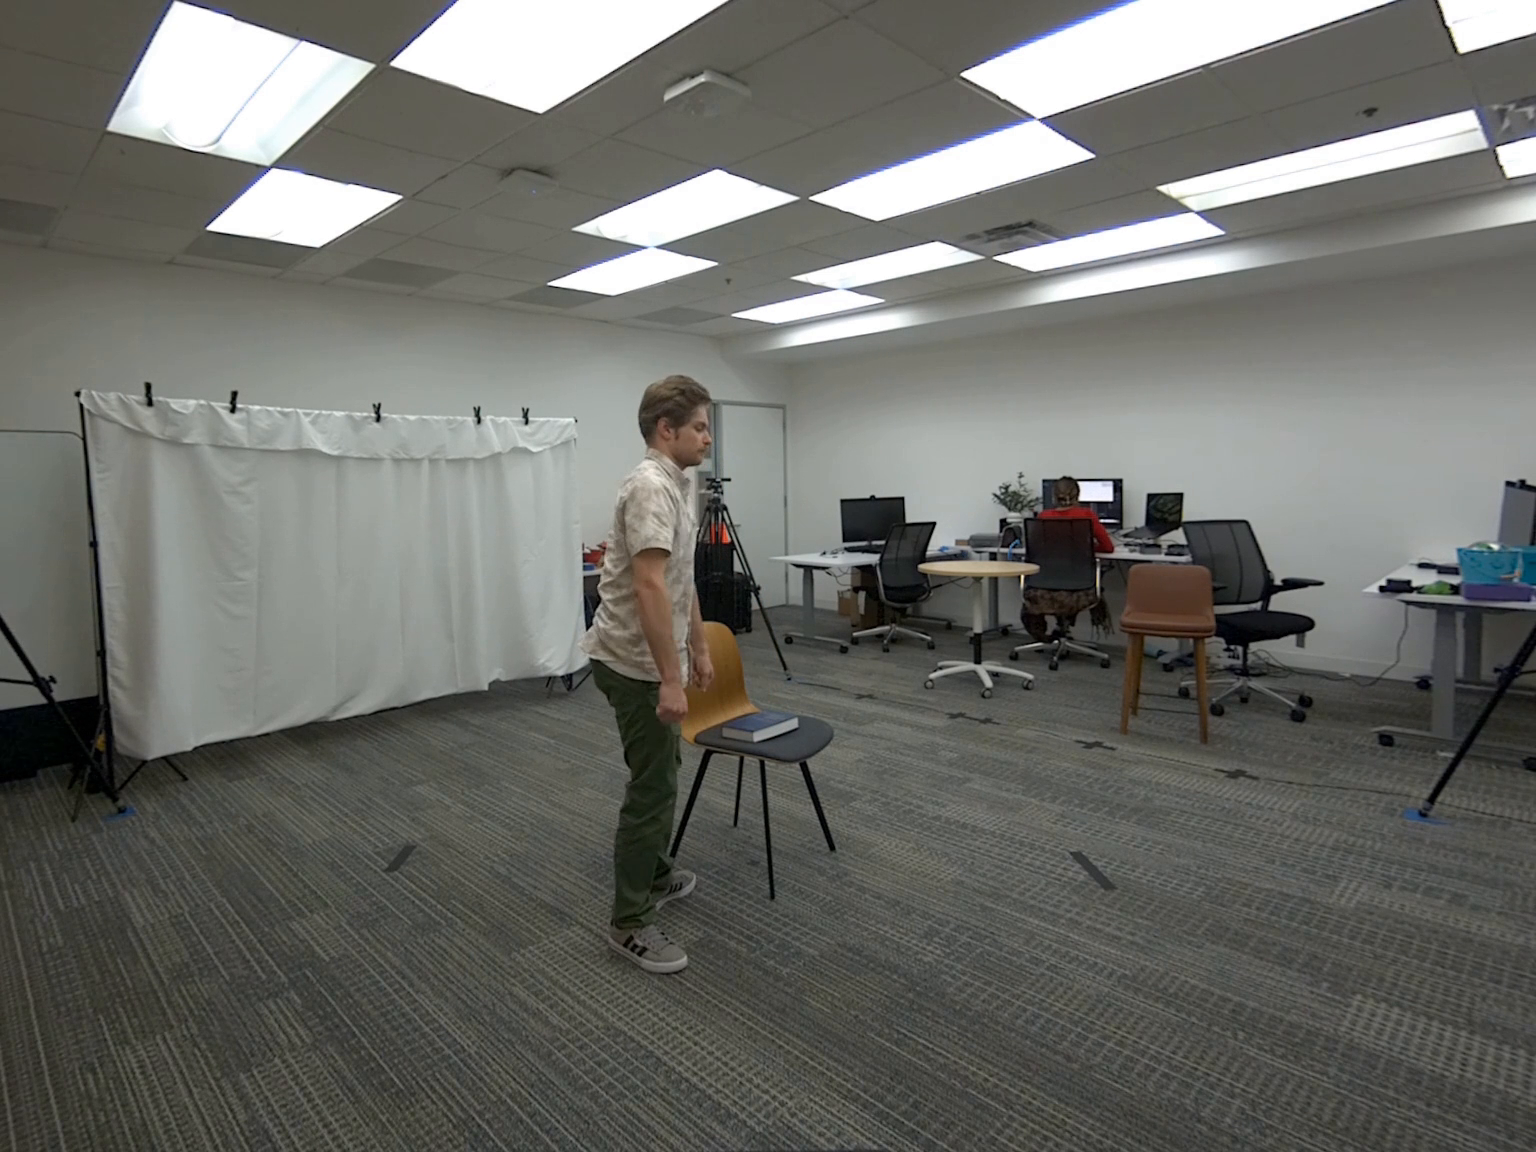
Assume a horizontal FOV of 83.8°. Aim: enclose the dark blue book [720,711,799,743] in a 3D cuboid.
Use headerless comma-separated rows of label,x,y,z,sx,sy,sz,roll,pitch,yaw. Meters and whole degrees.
dark blue book,-0.028,0.537,3.079,0.168,0.045,0.239,1,6,43
